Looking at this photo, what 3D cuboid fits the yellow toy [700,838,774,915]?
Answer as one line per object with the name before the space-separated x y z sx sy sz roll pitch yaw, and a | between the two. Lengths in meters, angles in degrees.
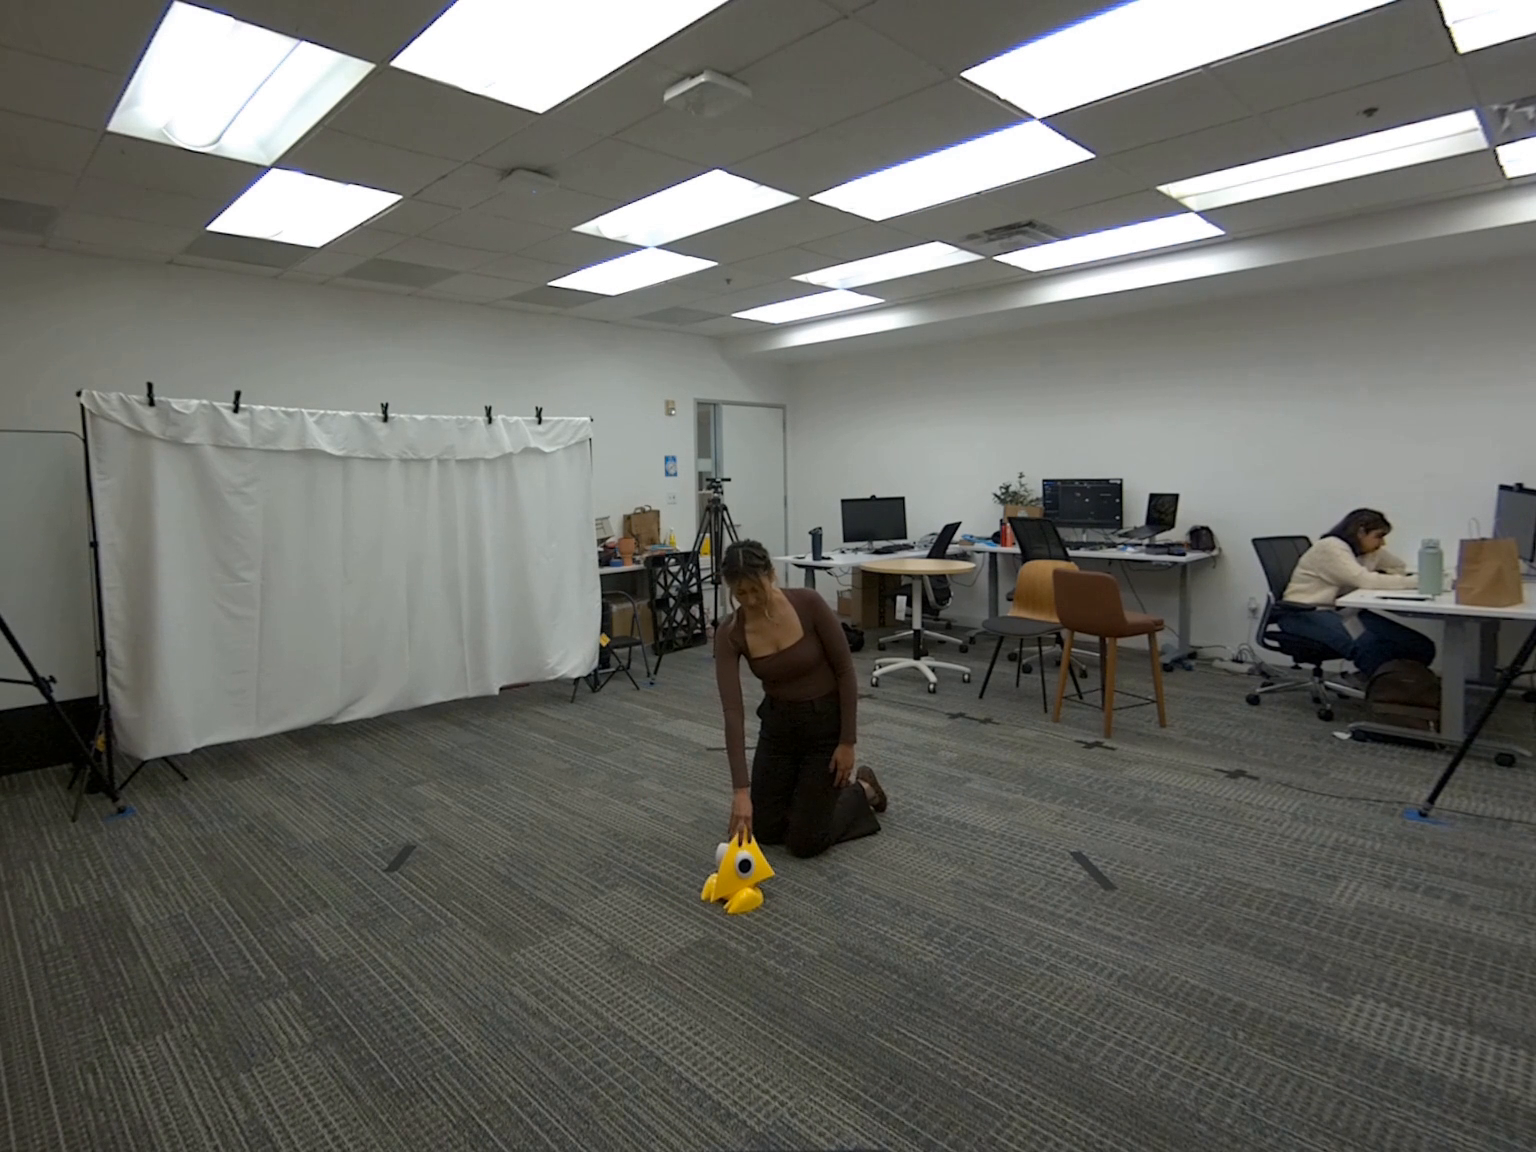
yellow toy | -0.109 0.959 2.846 0.211 0.230 0.188 4 7 44
